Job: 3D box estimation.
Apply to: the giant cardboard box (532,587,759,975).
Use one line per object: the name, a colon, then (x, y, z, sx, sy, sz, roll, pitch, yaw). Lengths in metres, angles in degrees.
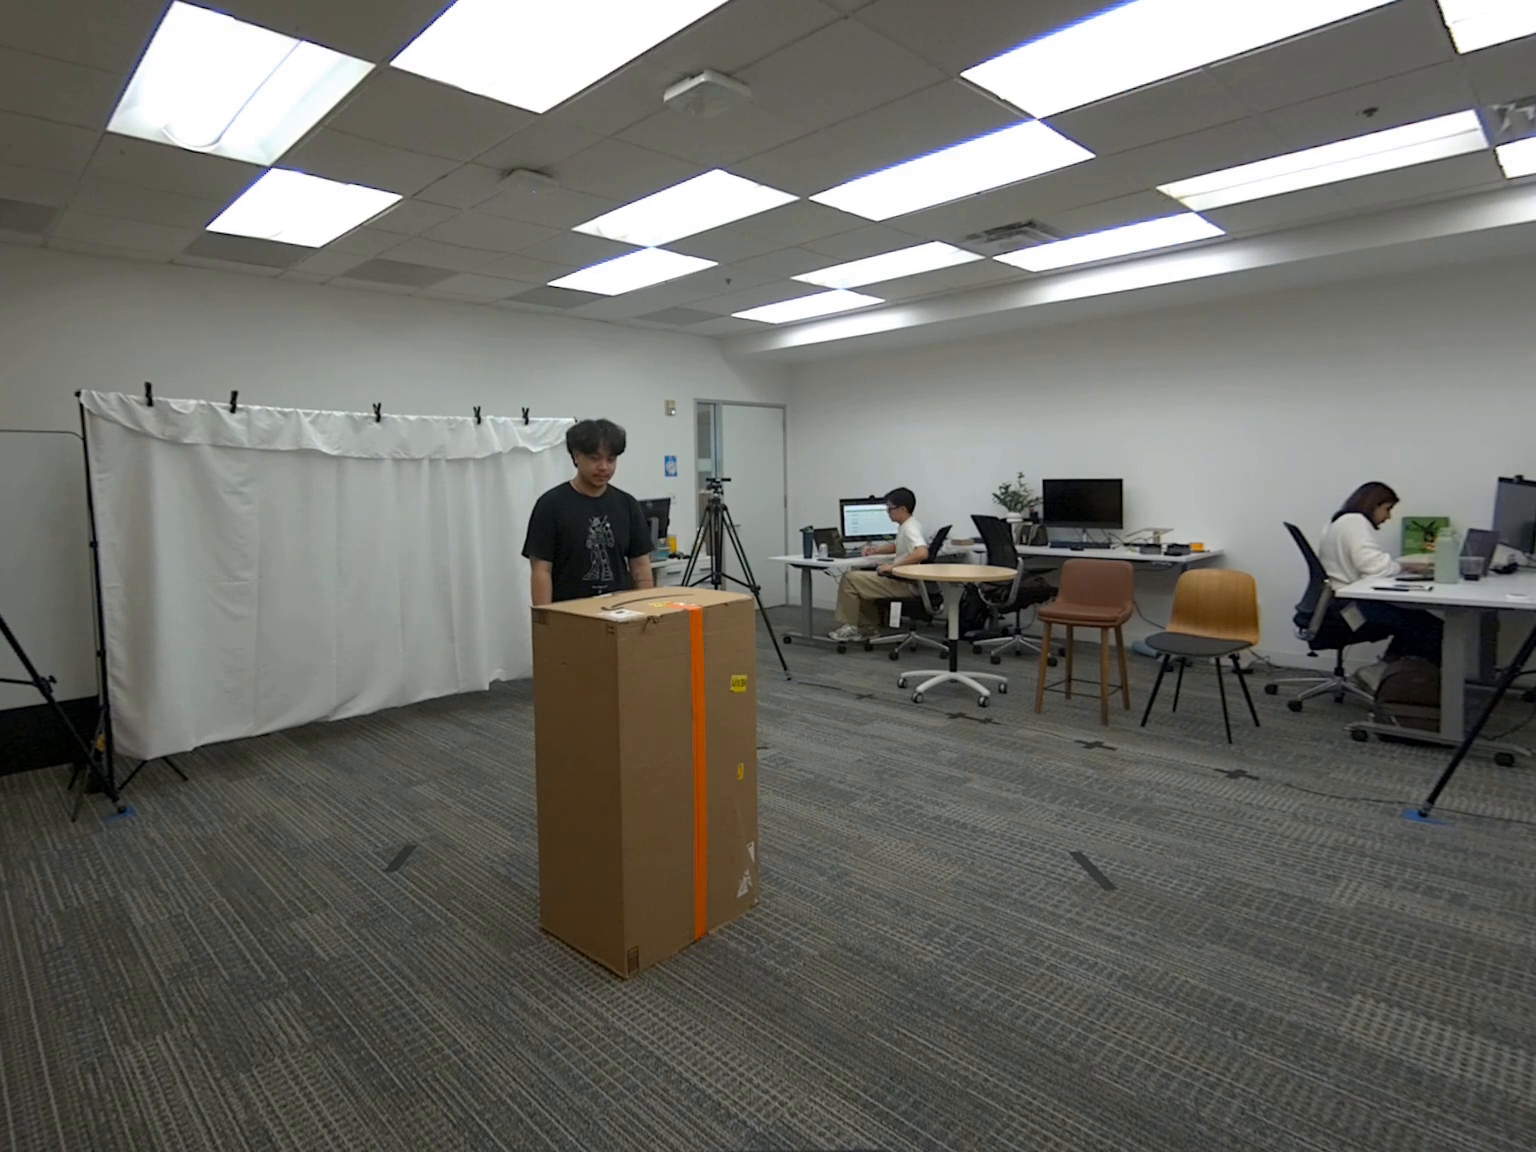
giant cardboard box: (-0.376, 0.585, 2.708, 0.461, 1.023, 0.569, 4, 7, 43)
